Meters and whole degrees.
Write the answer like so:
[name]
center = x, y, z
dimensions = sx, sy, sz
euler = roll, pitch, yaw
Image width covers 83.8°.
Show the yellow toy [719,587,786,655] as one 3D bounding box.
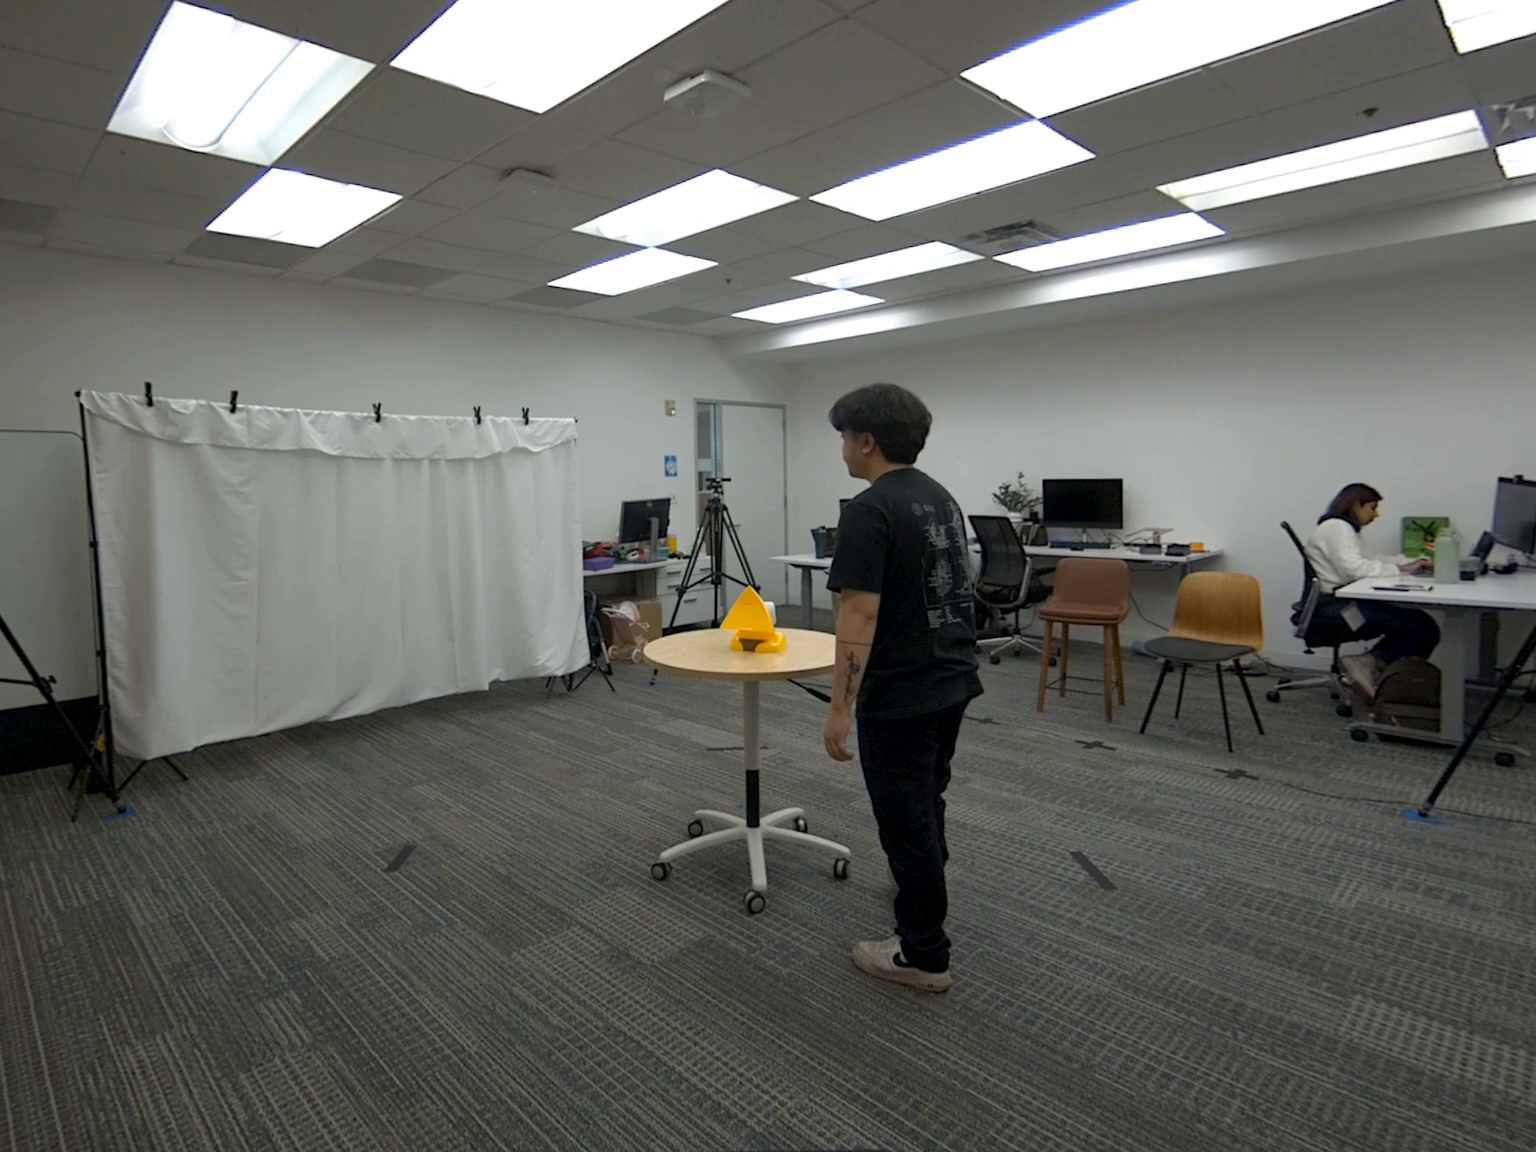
[yellow toy]
center = -0.037, 0.144, 3.033
dimensions = 0.210, 0.230, 0.189
euler = 2, 5, 26
